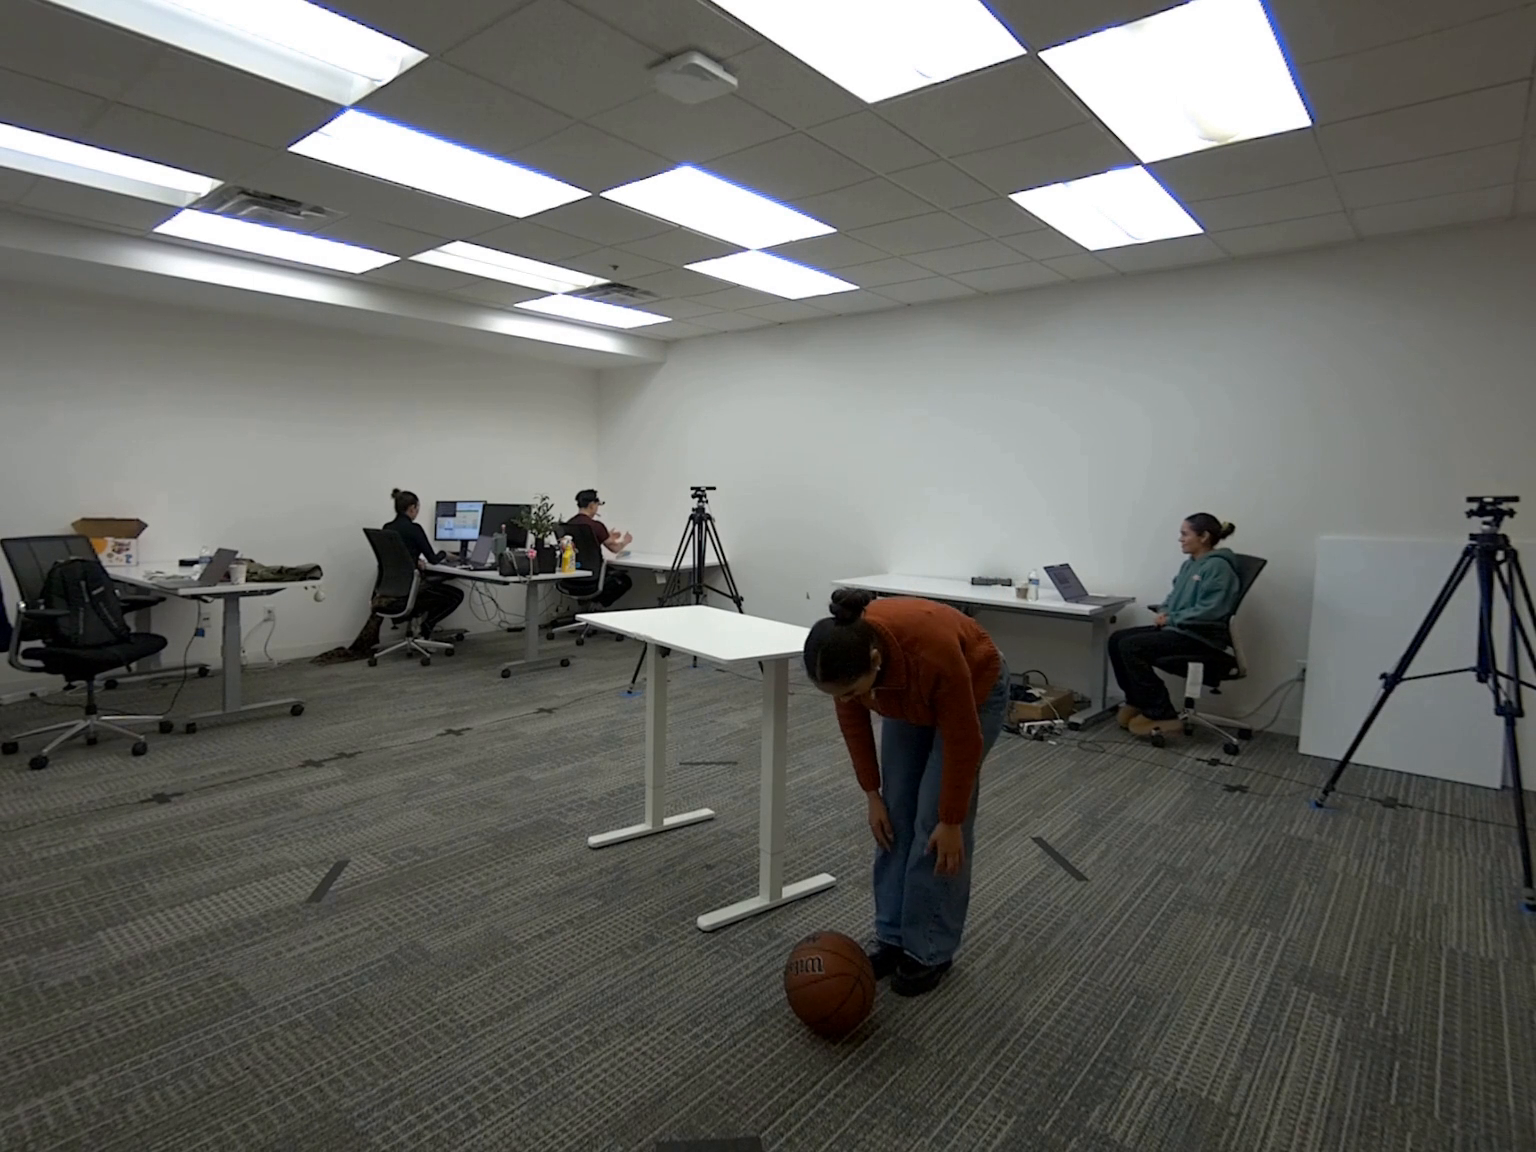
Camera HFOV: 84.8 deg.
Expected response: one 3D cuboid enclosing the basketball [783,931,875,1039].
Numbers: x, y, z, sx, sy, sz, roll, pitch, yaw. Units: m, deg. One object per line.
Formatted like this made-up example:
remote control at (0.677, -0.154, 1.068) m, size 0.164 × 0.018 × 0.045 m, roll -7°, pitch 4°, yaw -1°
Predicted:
basketball at (0.152, 1.038, 2.203) m, size 0.235 × 0.235 × 0.237 m, roll 1°, pitch 4°, yaw -2°
